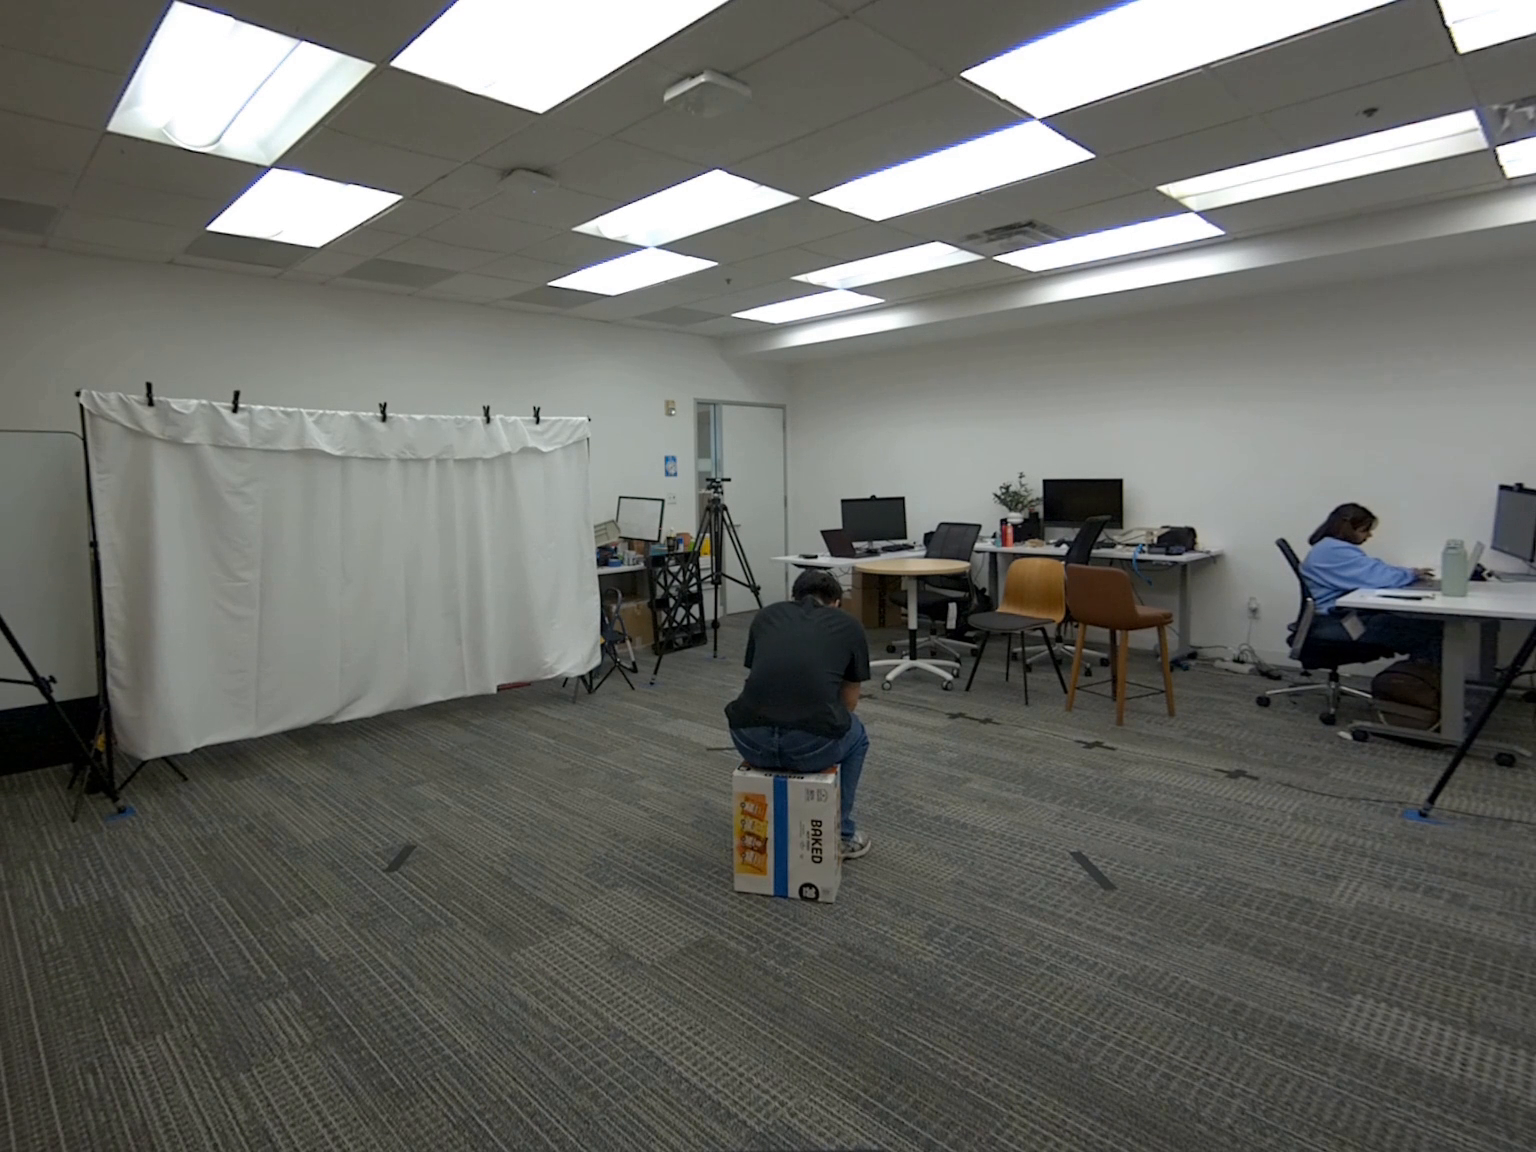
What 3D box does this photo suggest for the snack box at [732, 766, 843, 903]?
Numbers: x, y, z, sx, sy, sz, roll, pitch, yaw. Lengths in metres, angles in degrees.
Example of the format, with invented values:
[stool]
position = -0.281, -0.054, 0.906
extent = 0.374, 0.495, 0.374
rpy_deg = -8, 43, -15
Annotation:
[snack box]
position = 0.069, 0.859, 2.930
extent = 0.345, 0.404, 0.203
rpy_deg = -1, 3, 15
